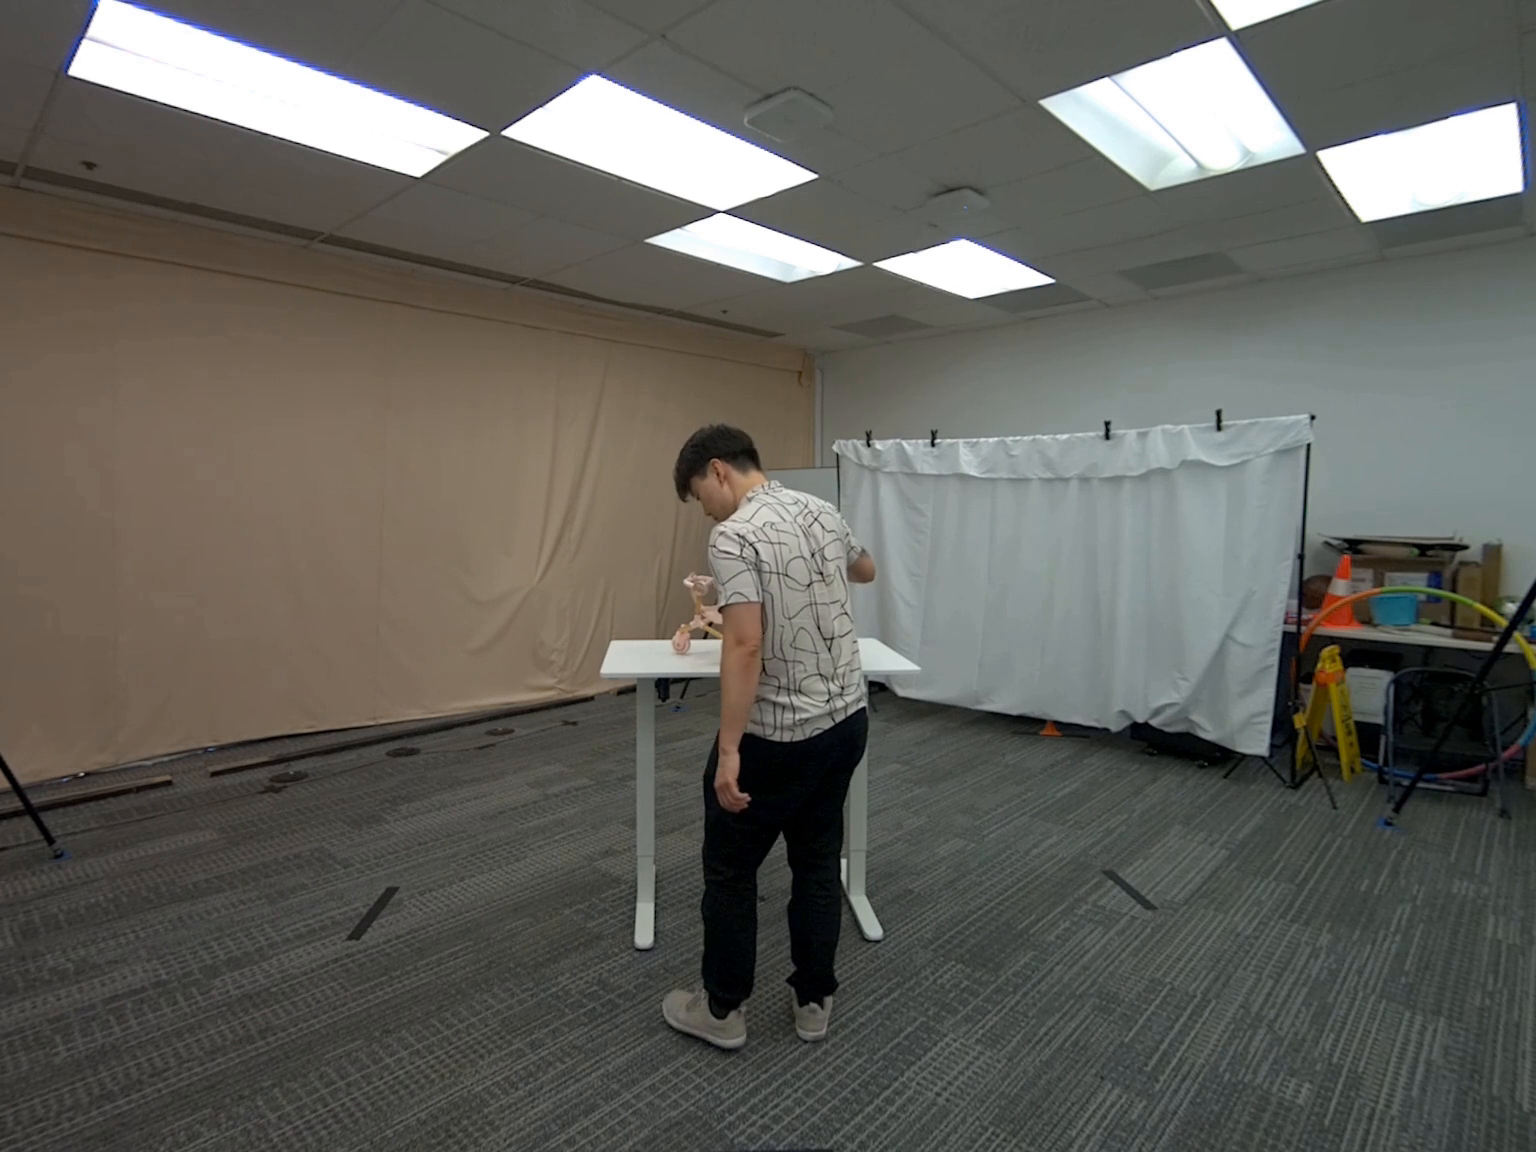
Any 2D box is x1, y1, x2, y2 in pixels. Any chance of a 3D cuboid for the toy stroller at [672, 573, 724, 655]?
[{"bbox_3d":[-0.111,0.051,2.801,0.351,0.533,0.275,18,10,24],"label":"toy stroller"}]
